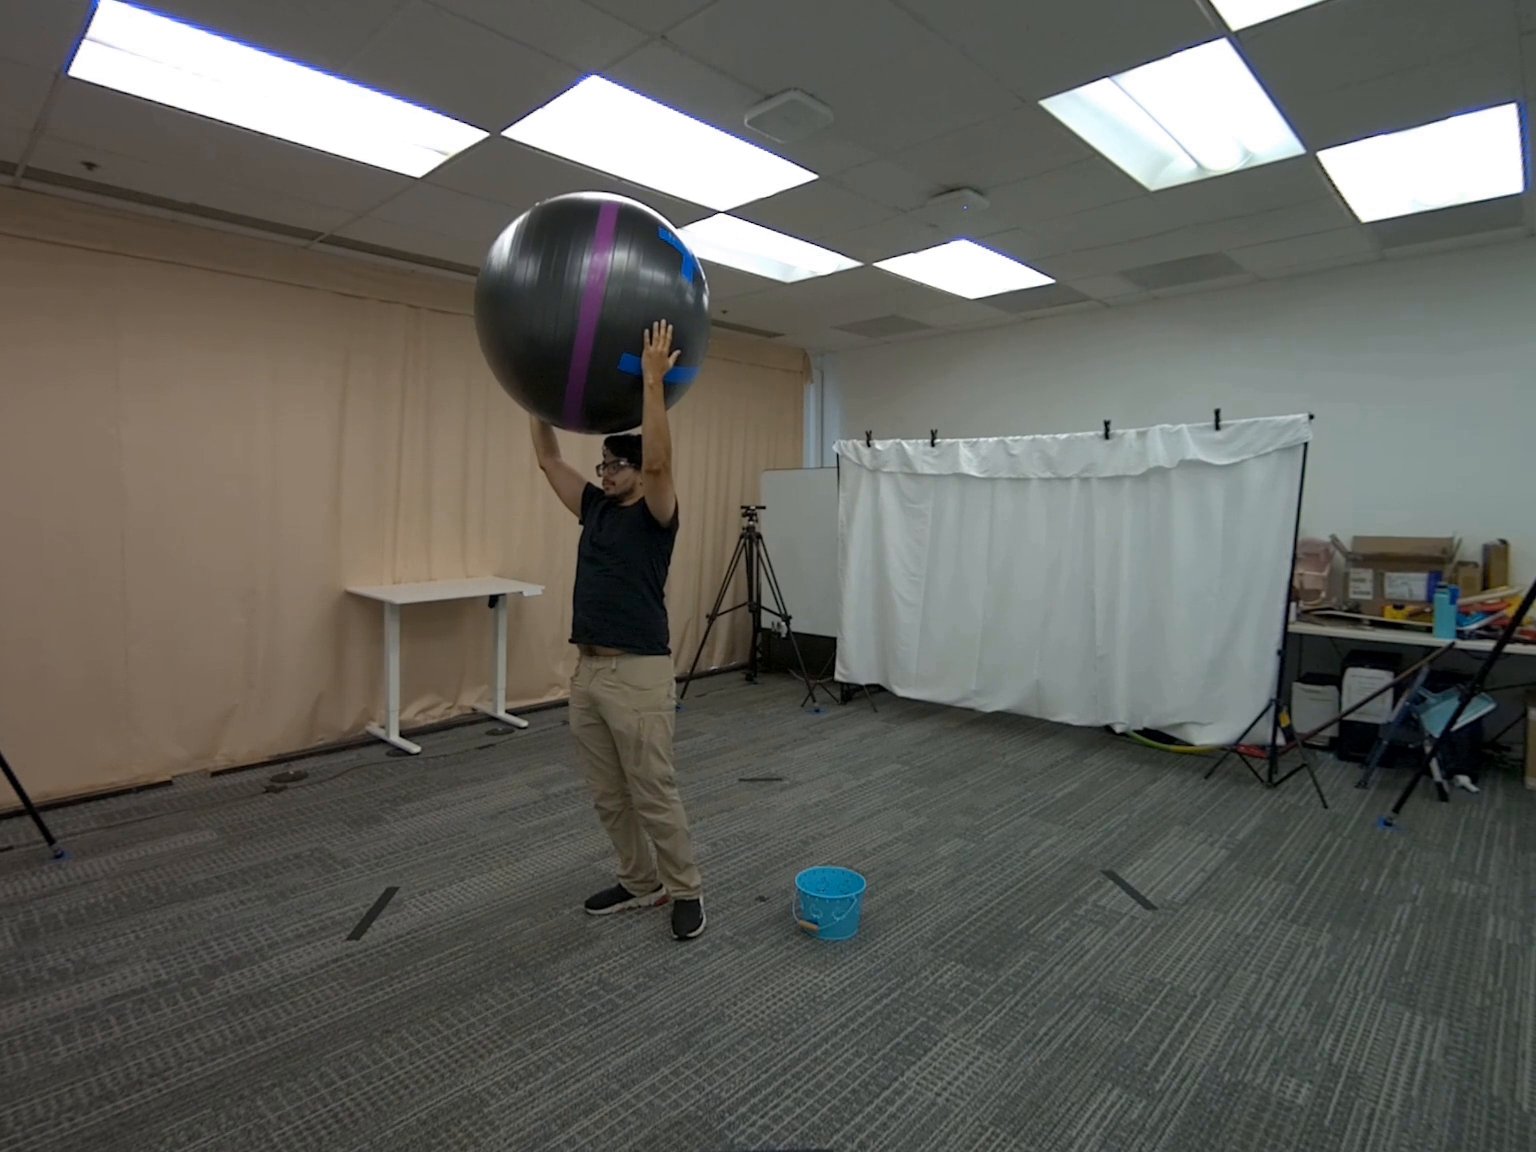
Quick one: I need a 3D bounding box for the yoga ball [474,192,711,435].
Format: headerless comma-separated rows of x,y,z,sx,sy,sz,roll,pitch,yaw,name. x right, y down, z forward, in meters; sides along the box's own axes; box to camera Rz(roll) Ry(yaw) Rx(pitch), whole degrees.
-0.560,-0.842,2.747,0.757,0.756,0.761,0,4,-2,yoga ball
